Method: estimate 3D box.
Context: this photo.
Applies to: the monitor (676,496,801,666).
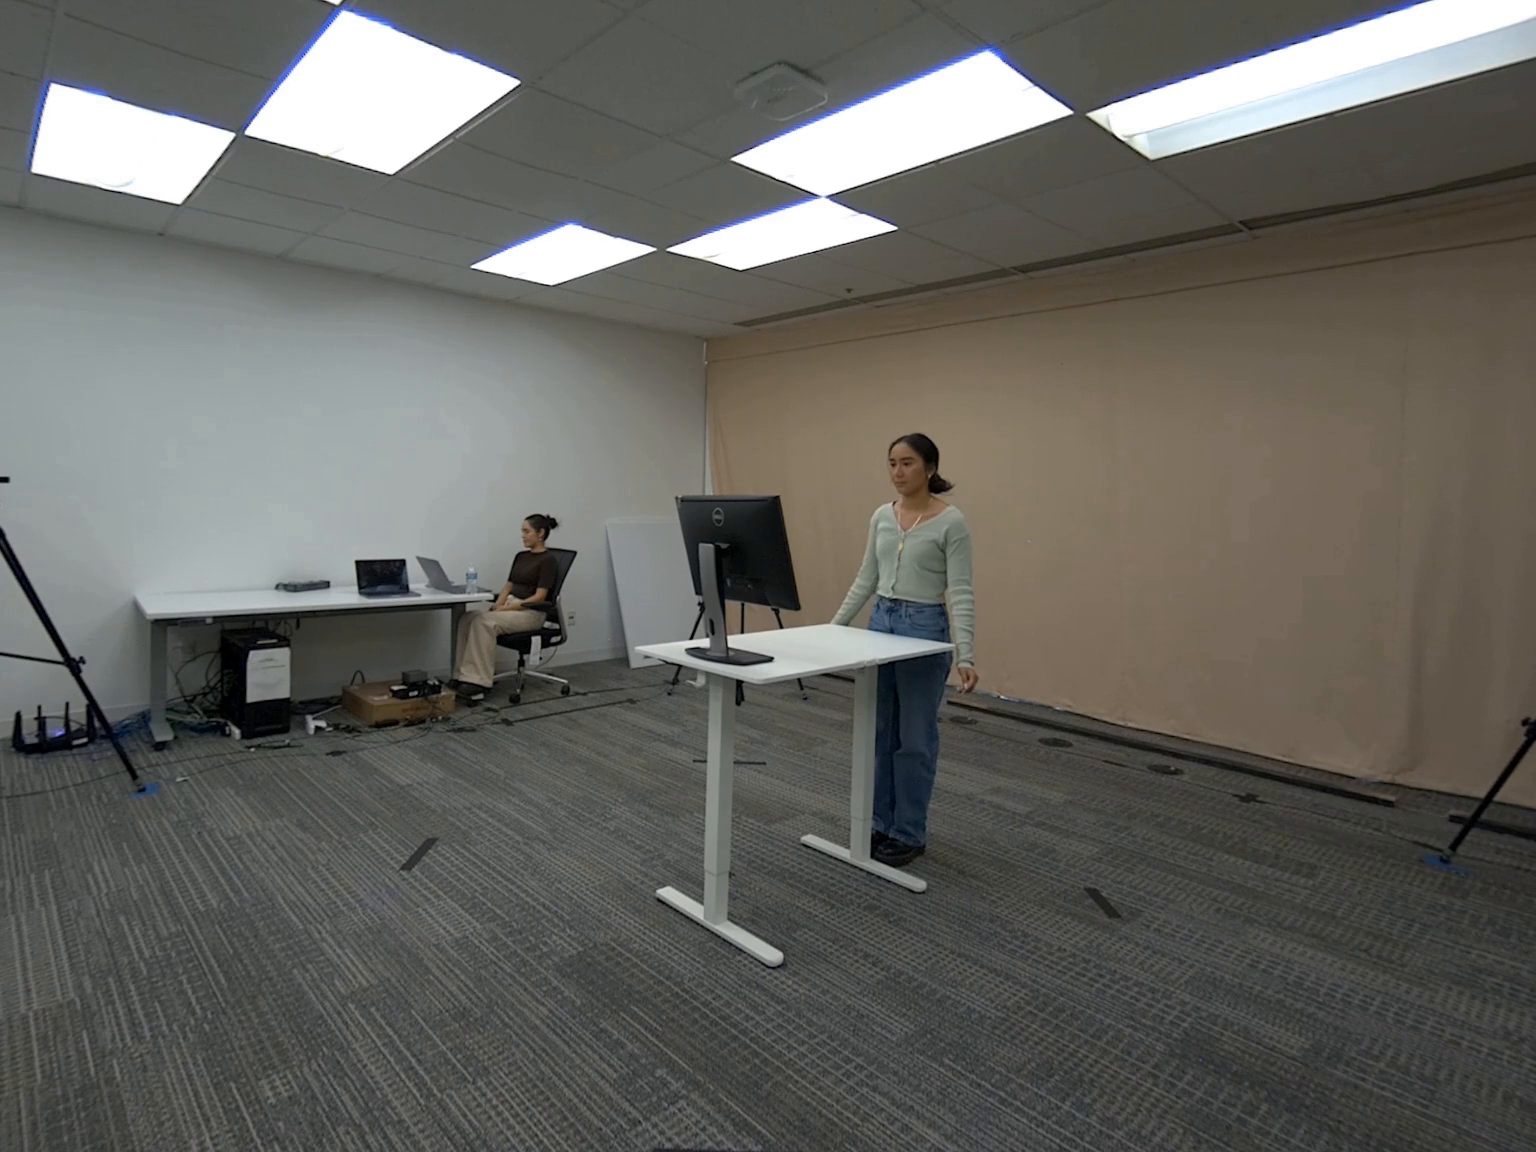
[{"bbox_3d":[-0.134,0.012,2.633,0.183,0.521,0.553,-3,6,-41],"label":"monitor"}]
